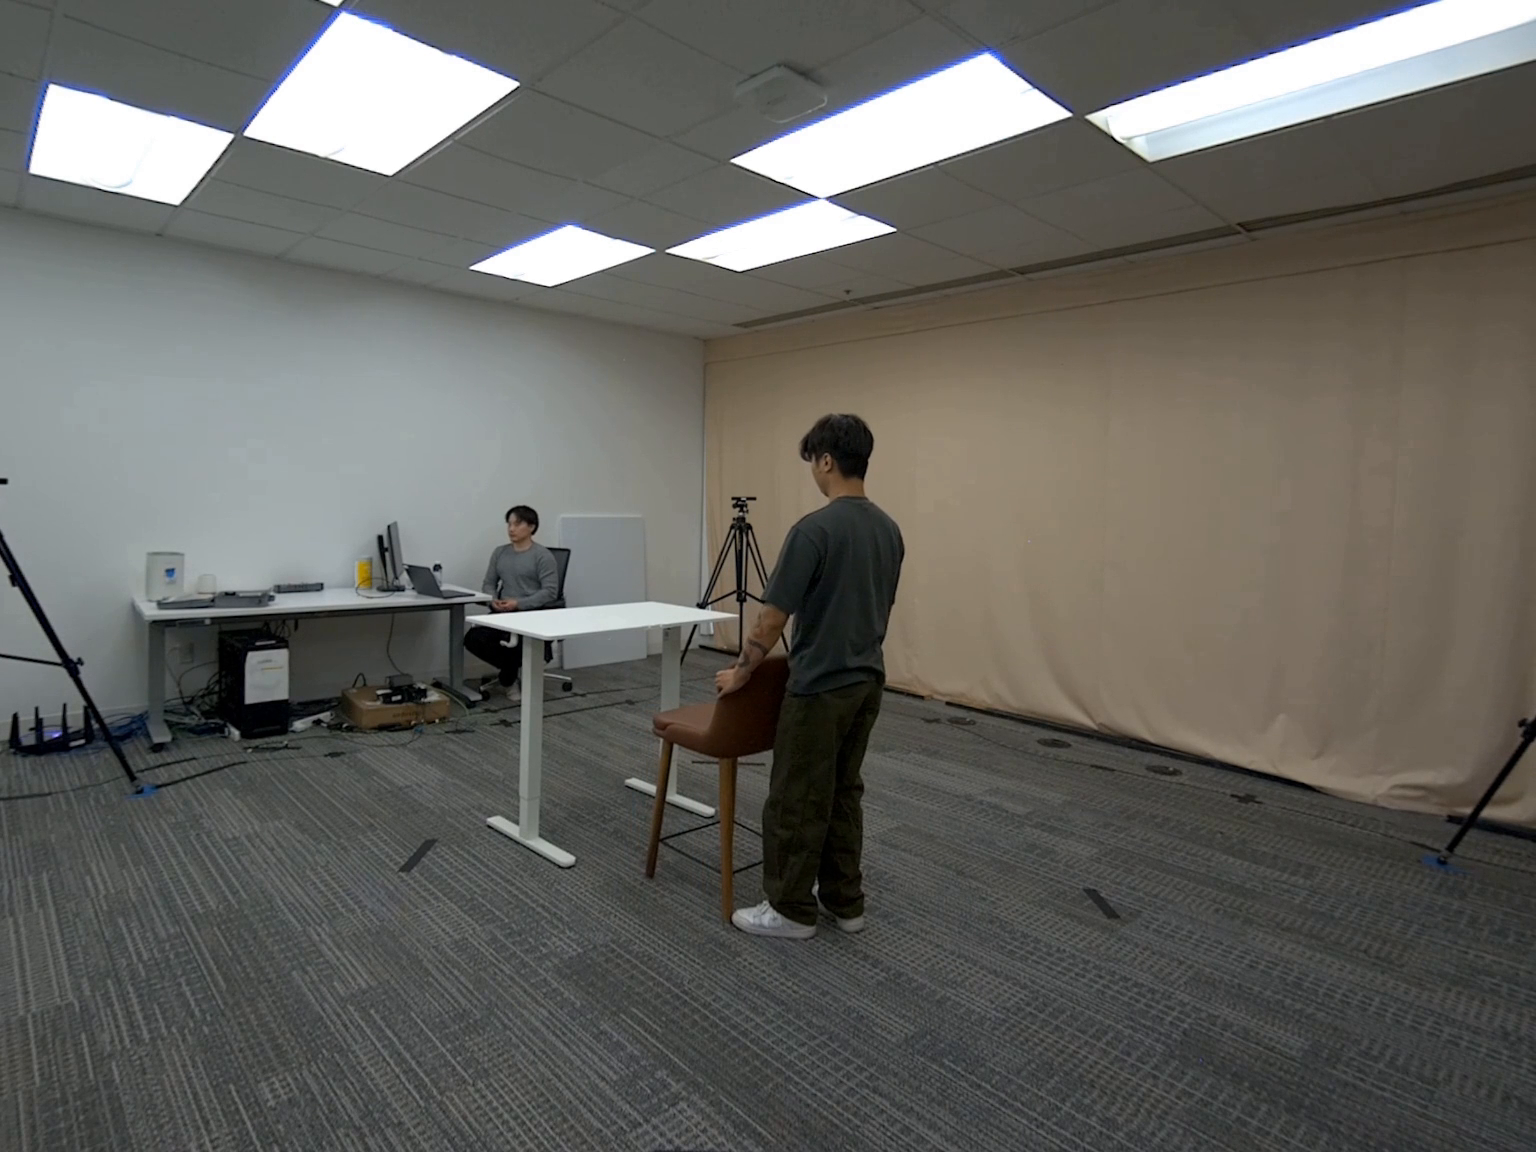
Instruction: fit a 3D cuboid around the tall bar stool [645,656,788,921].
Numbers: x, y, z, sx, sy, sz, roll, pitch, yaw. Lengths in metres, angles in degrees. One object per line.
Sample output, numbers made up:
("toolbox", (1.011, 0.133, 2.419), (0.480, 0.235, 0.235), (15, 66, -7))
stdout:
("tall bar stool", (-0.139, 0.679, 3.011), (0.446, 0.886, 0.480), (-2, 7, -41))
